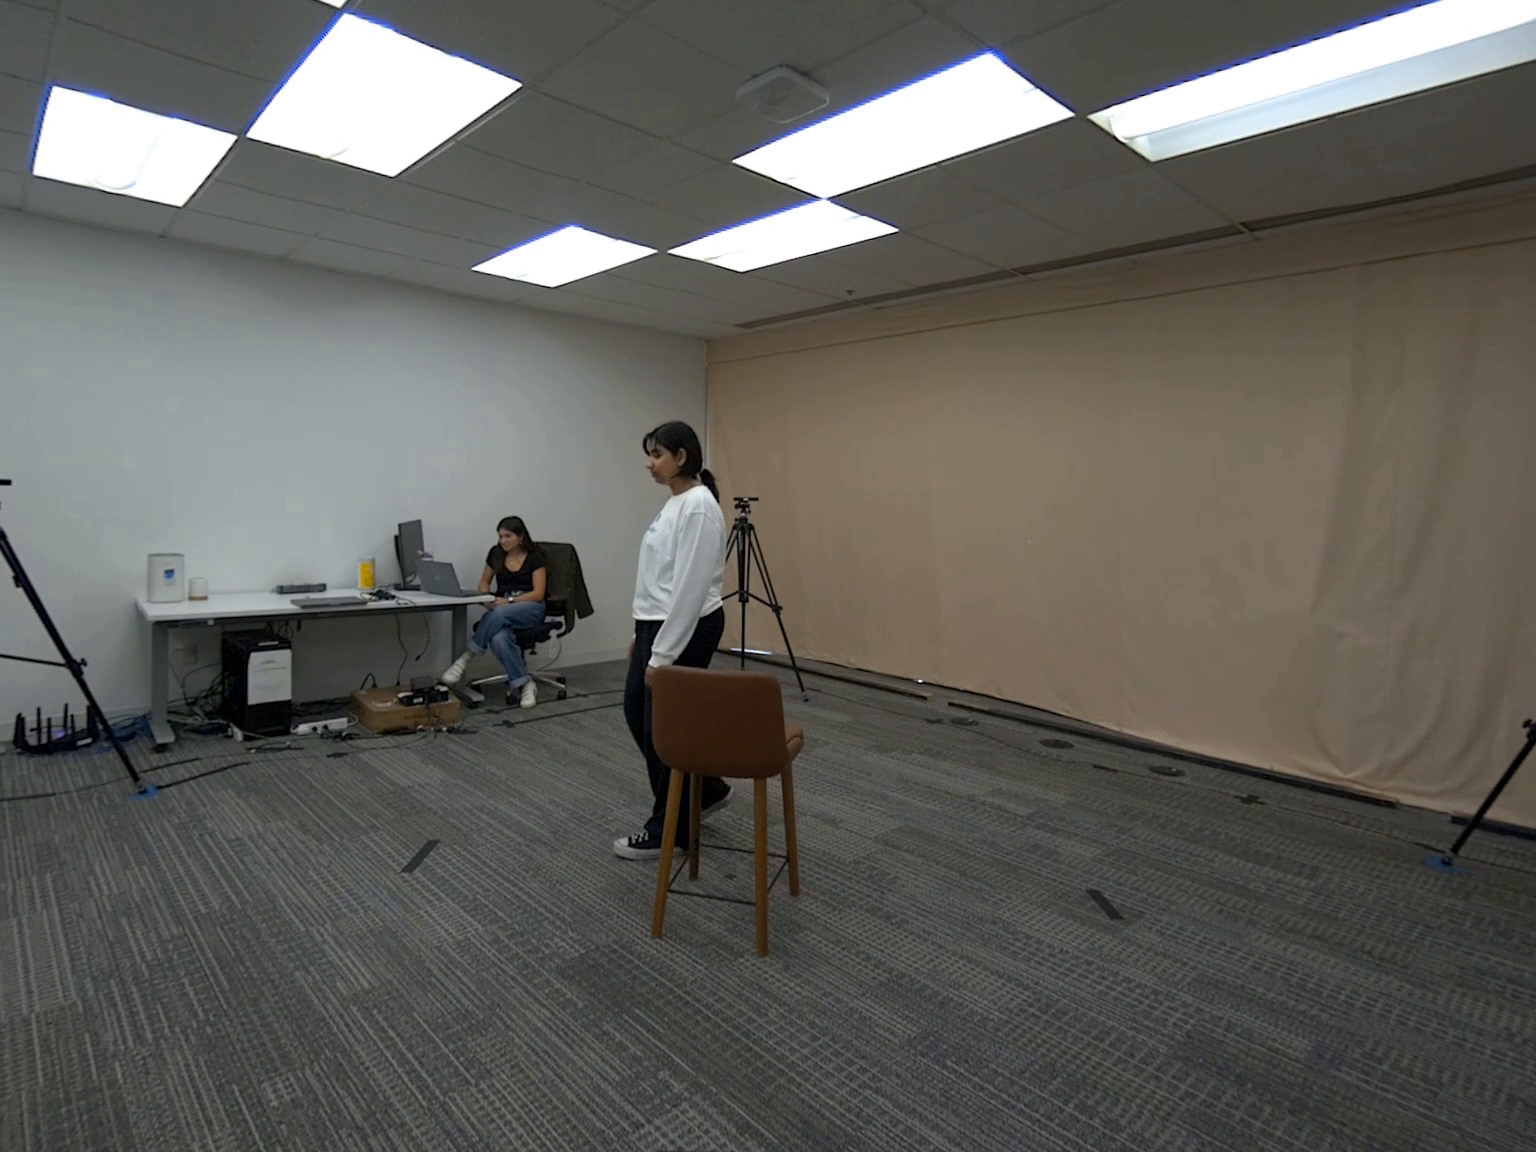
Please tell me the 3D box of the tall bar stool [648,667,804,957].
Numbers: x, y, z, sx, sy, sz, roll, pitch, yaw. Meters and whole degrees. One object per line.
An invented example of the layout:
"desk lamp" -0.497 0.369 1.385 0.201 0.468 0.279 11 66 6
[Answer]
"tall bar stool" -0.132 0.702 2.790 0.462 0.886 0.463 2 6 15
